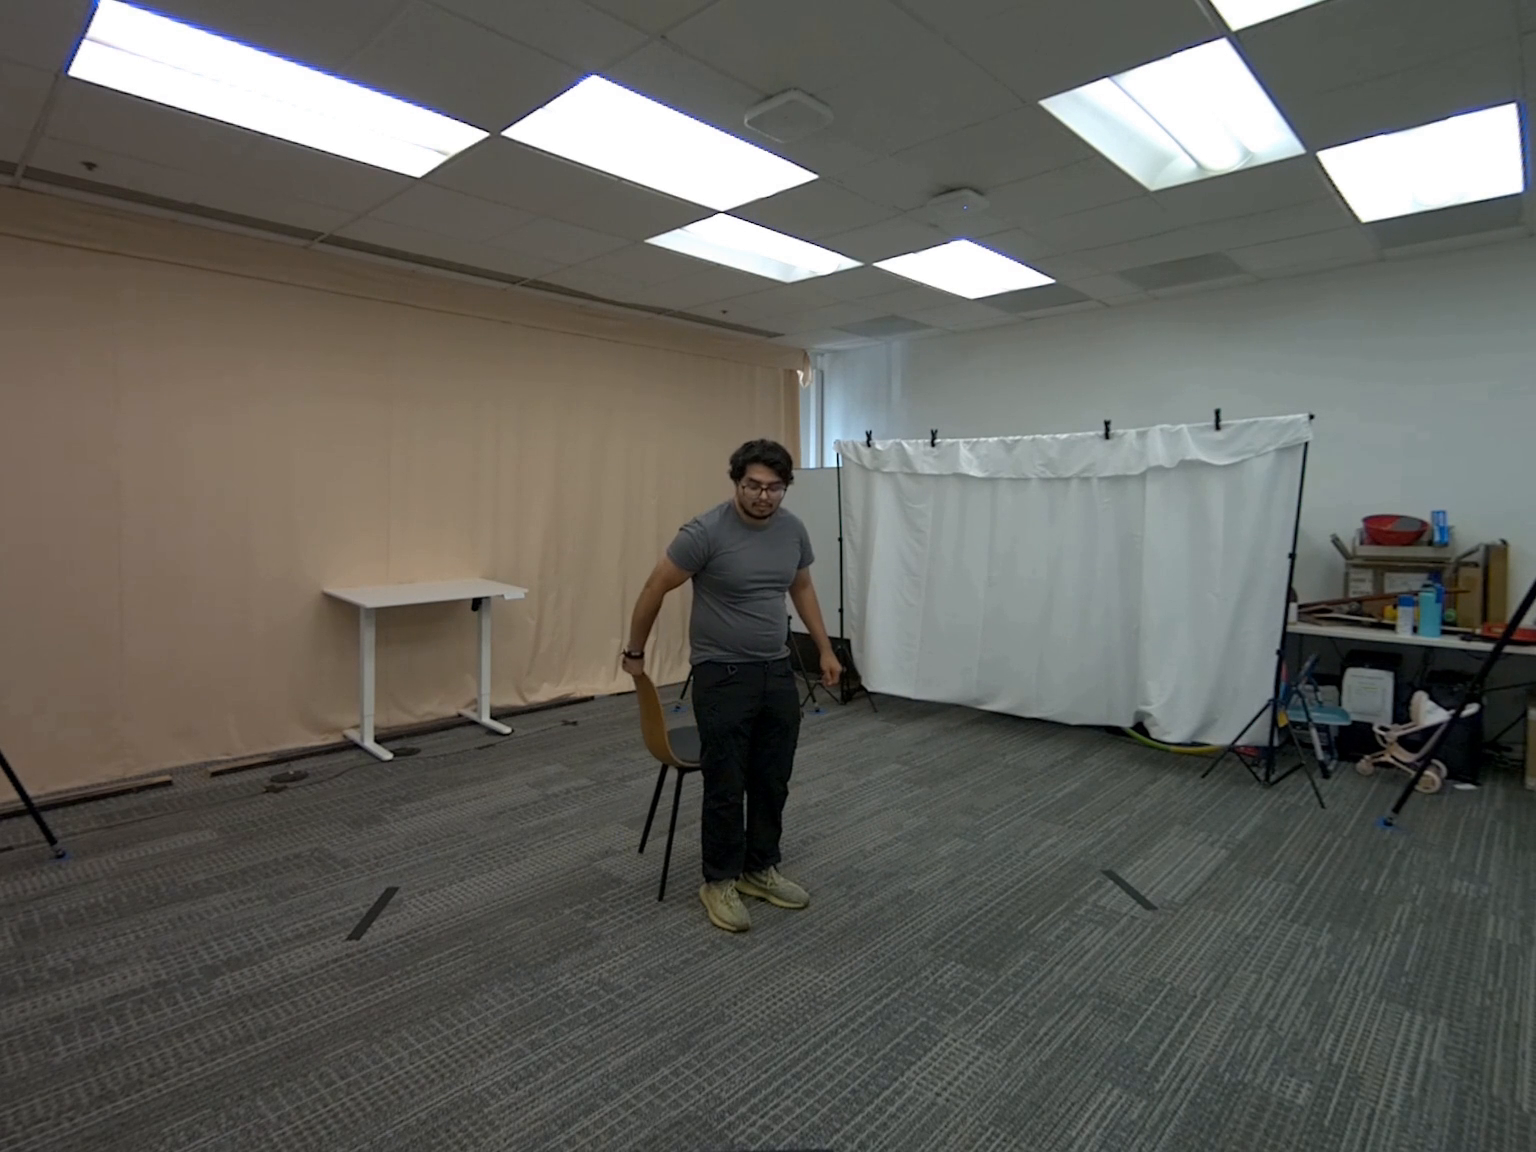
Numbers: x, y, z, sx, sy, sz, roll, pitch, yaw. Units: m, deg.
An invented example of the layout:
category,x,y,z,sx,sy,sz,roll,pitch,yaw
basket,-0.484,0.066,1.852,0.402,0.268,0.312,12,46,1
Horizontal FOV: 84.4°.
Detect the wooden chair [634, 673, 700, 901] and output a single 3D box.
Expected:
category,x,y,z,sx,sy,sz,roll,pitch,yaw
wooden chair,-0.253,0.694,3.210,0.515,0.874,0.487,-7,5,-16
